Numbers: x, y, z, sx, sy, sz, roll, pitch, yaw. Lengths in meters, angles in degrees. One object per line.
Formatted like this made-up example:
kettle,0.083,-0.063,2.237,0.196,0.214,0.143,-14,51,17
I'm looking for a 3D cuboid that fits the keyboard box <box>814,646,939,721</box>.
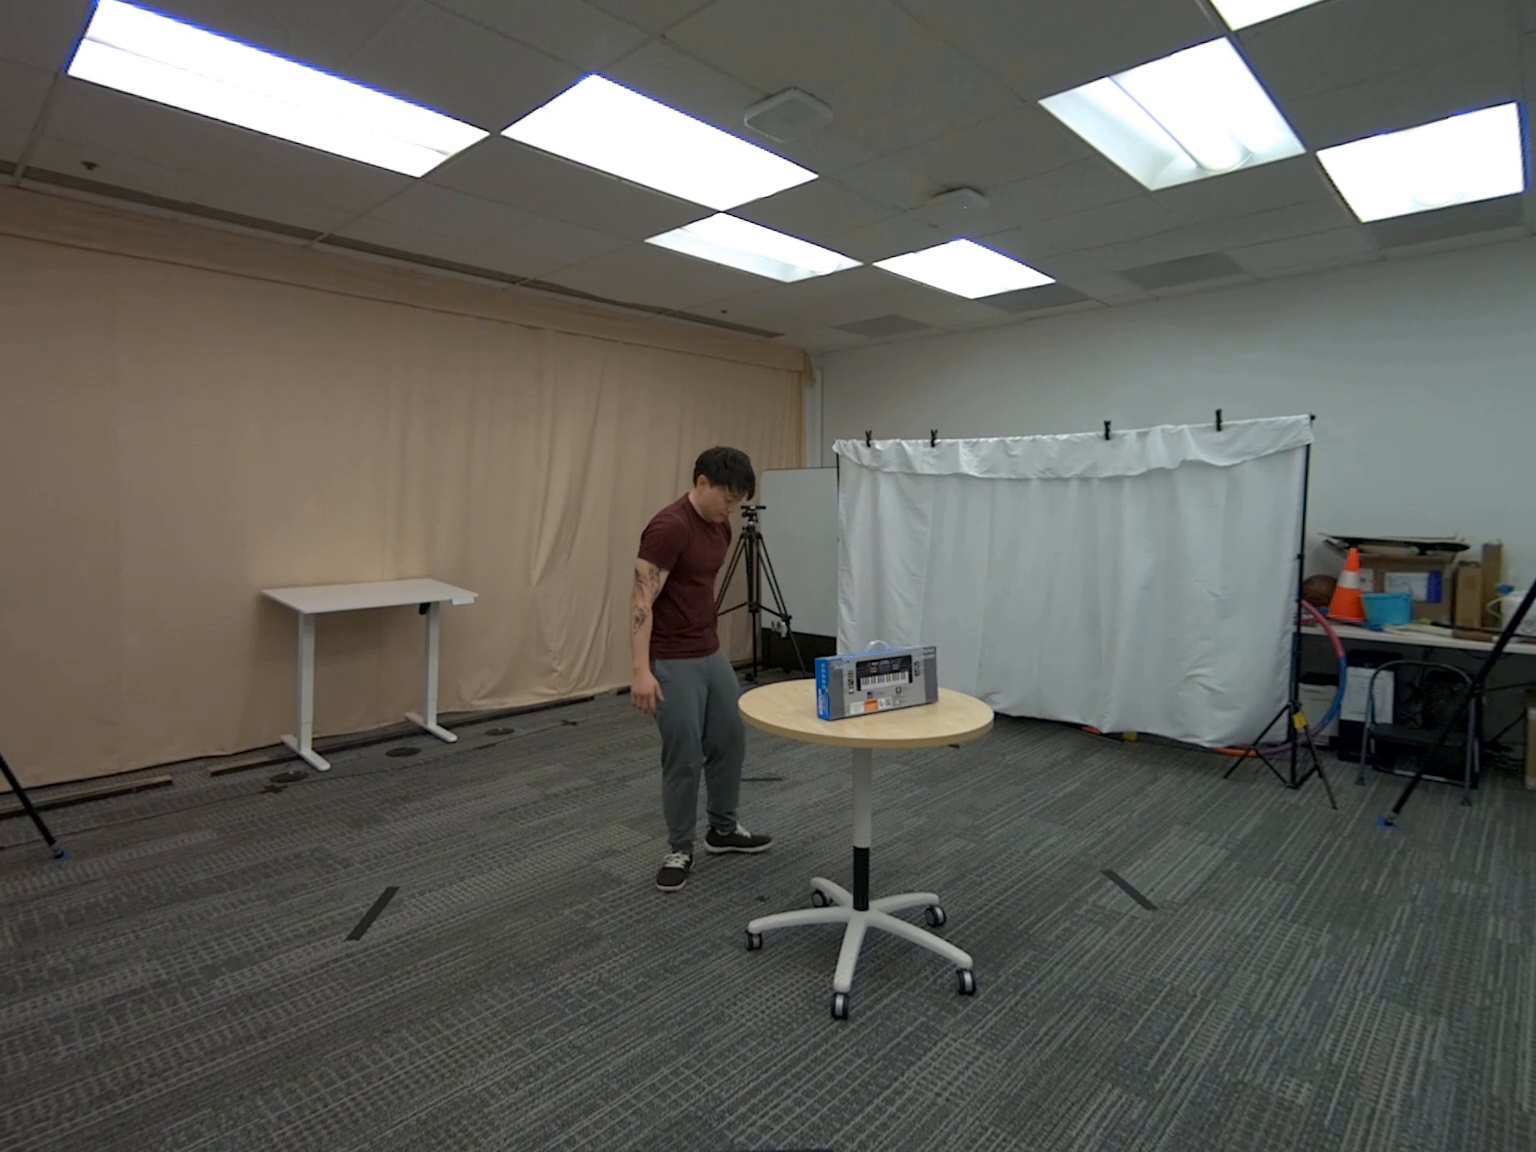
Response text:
keyboard box,0.337,0.319,2.508,0.424,0.176,0.061,-3,0,-33
